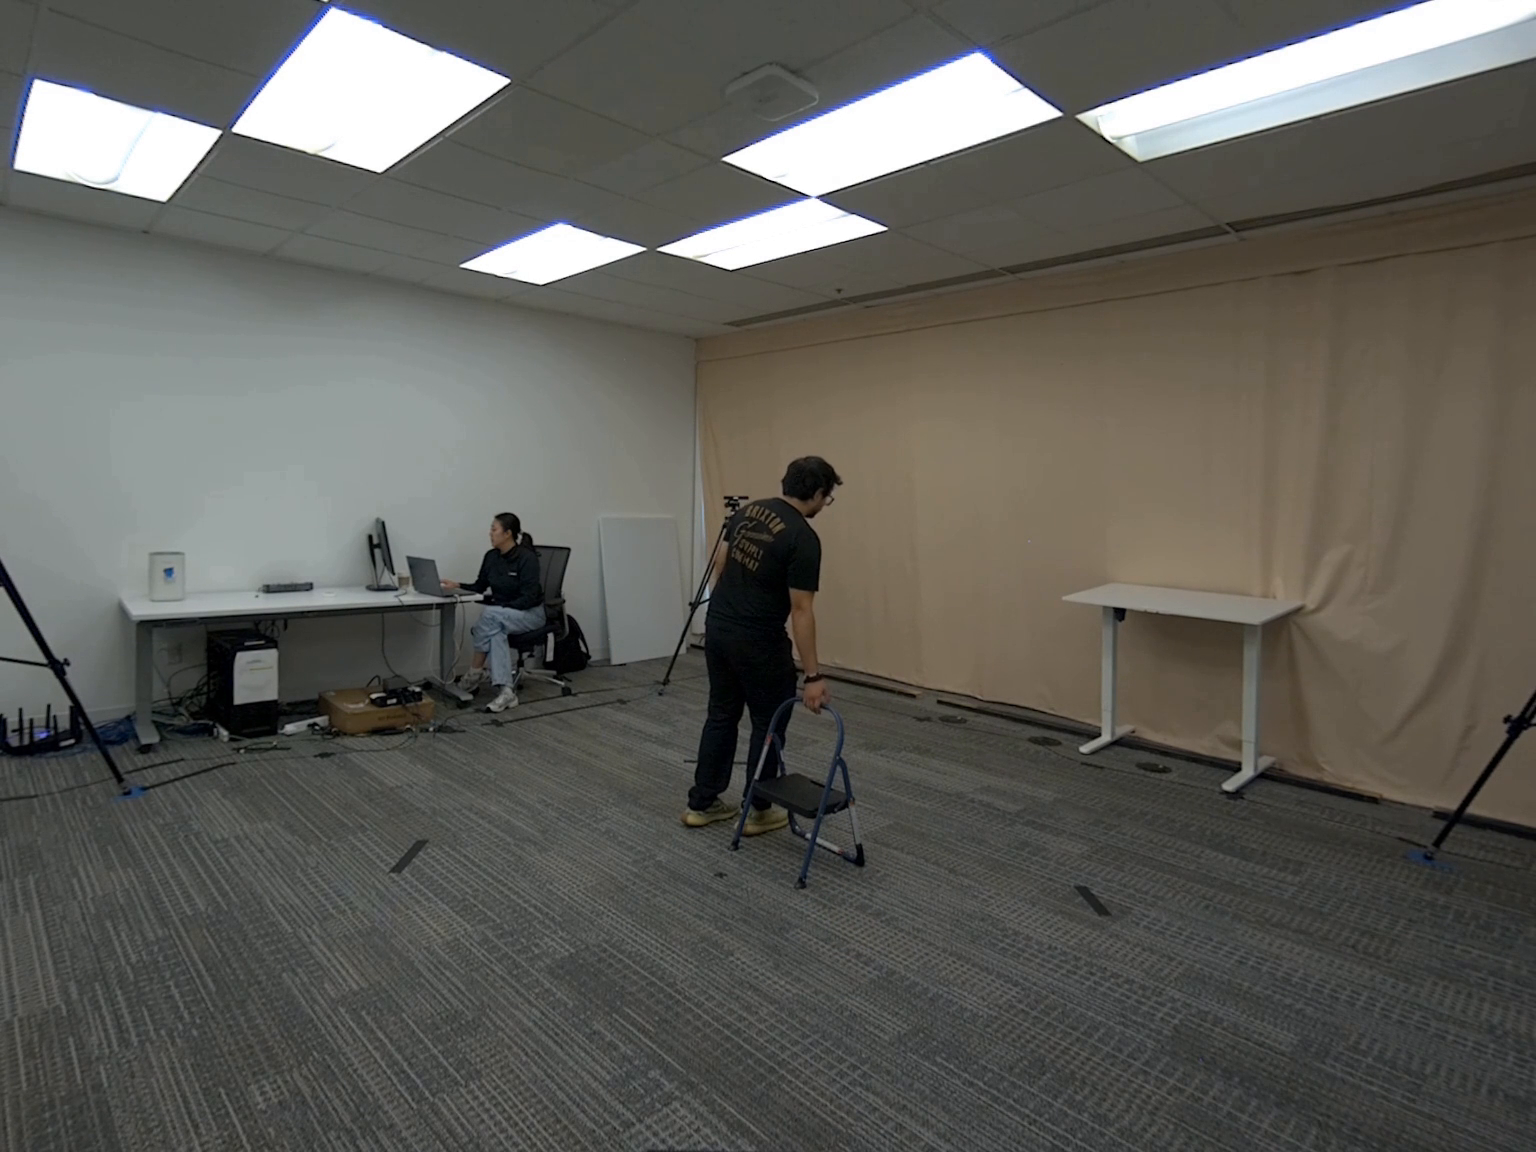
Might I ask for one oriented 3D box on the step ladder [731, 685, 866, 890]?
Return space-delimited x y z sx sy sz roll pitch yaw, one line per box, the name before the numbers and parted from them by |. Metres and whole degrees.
step ladder | 0.114 0.793 3.253 0.341 0.604 0.441 -2 4 -39
